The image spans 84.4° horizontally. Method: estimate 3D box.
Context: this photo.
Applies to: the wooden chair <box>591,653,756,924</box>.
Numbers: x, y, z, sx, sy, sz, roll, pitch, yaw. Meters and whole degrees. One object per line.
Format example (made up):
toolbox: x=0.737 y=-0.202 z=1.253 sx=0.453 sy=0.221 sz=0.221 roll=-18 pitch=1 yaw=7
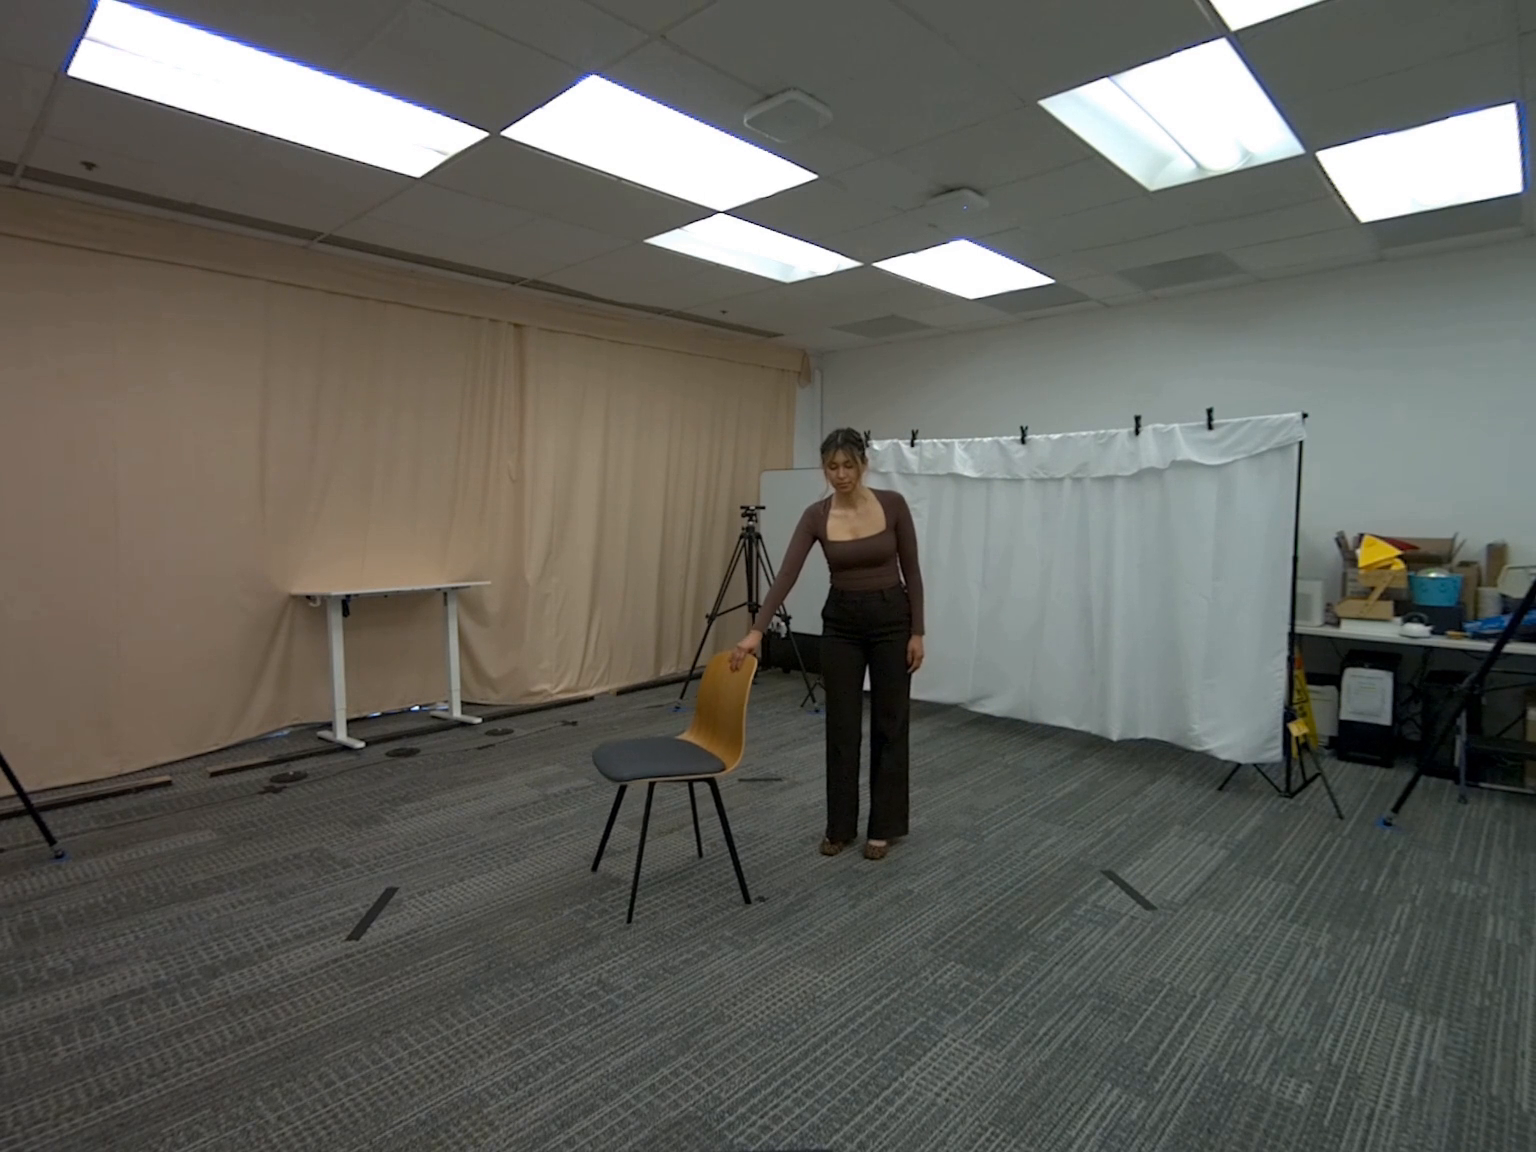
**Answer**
wooden chair: x=-0.345 y=0.704 z=3.034 sx=0.509 sy=0.877 sz=0.491 roll=6 pitch=0 yaw=-26
